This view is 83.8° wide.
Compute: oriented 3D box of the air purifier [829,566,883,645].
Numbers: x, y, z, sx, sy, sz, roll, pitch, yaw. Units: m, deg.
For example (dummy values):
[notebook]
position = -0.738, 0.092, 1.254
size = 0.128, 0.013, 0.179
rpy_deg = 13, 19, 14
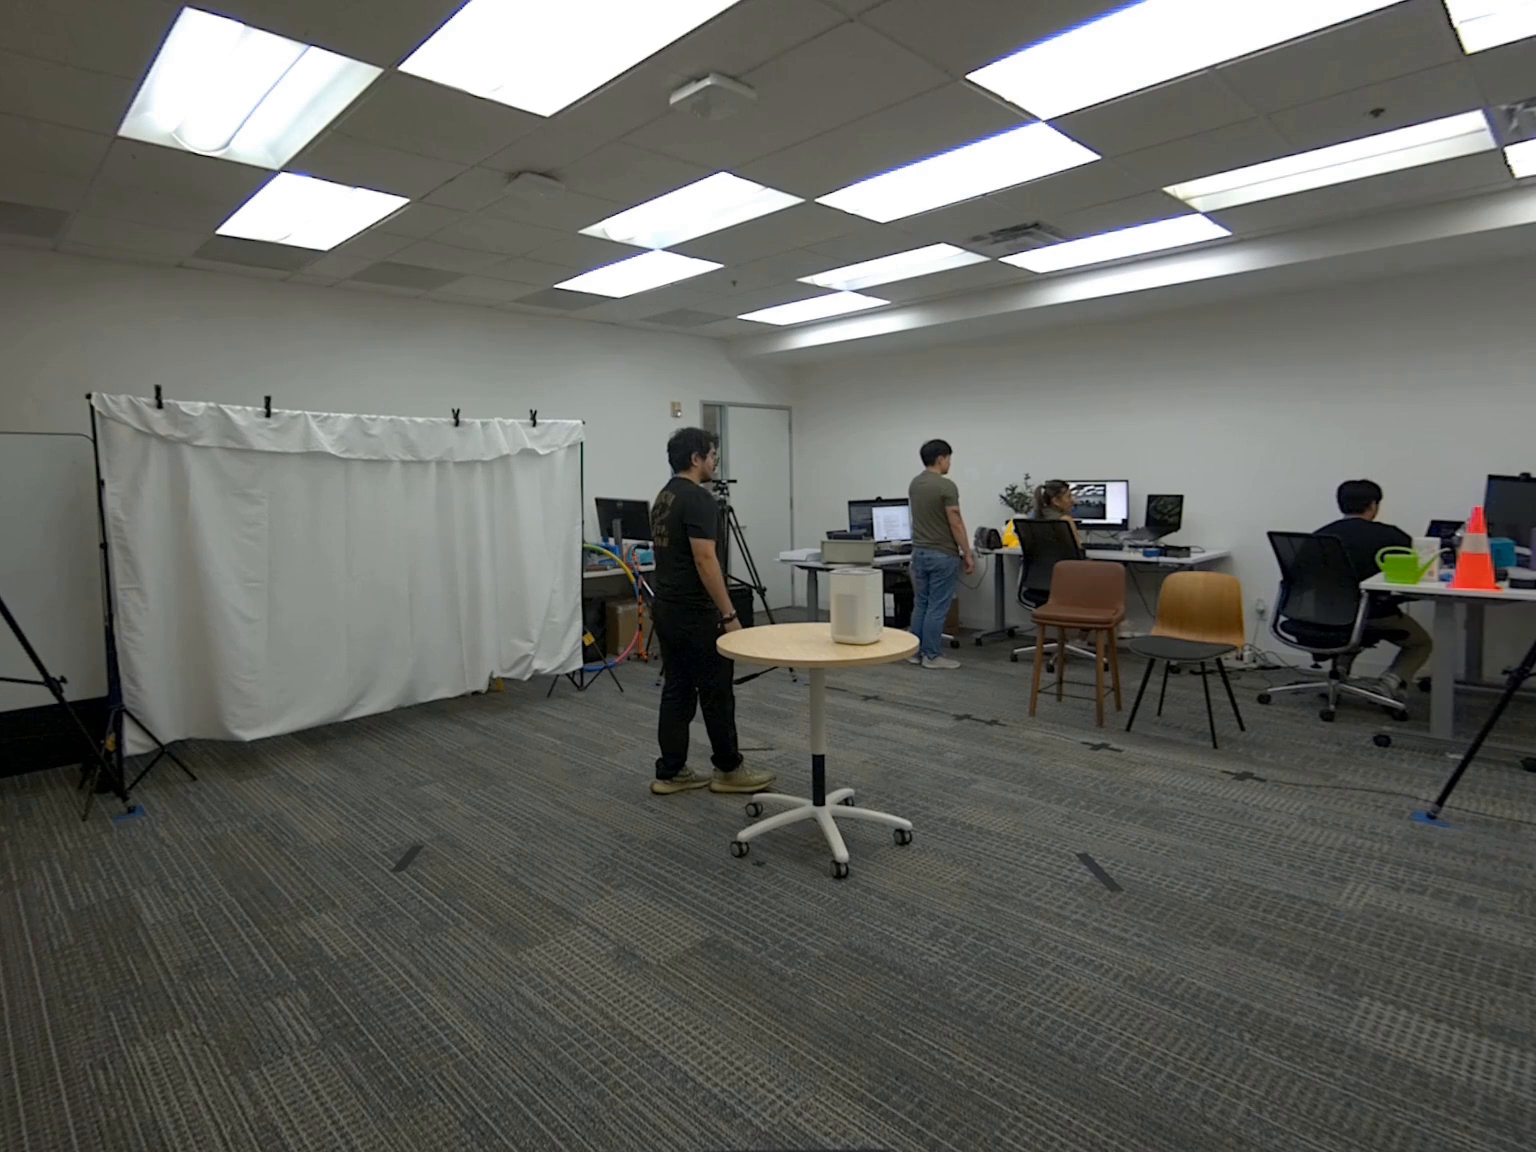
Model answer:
[air purifier]
position = 0.337, 0.114, 3.195
size = 0.176, 0.264, 0.167
rpy_deg = 1, 6, 34
